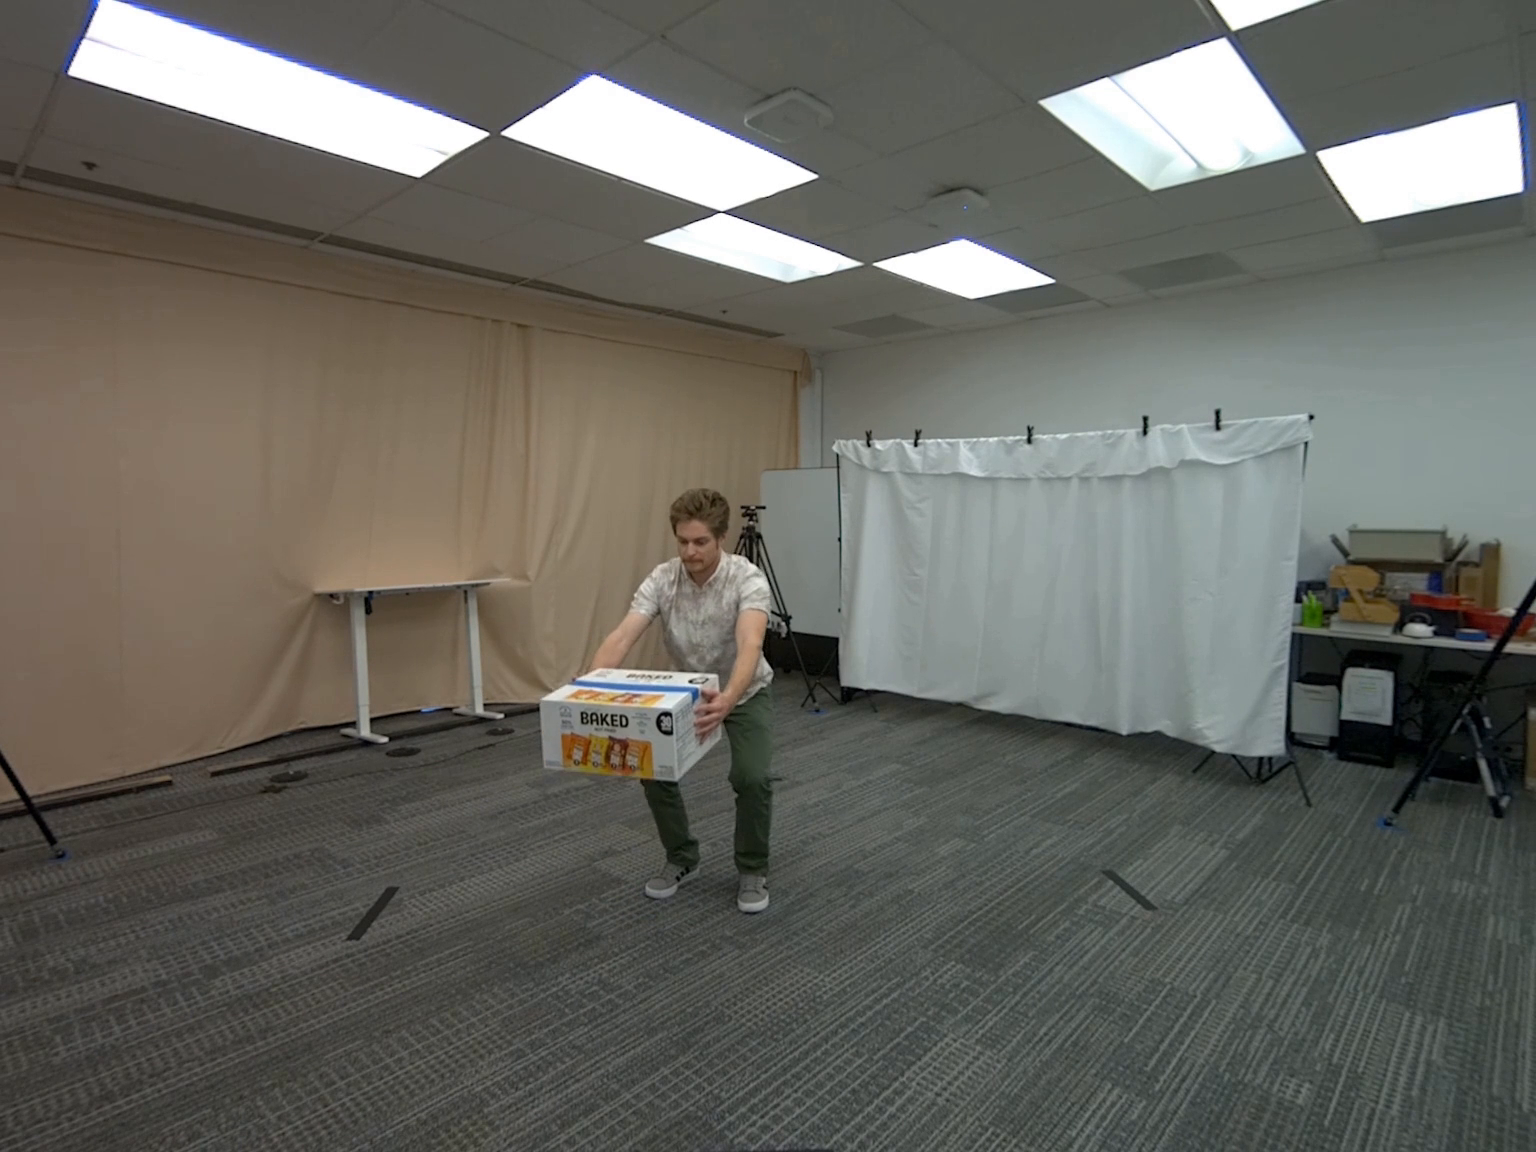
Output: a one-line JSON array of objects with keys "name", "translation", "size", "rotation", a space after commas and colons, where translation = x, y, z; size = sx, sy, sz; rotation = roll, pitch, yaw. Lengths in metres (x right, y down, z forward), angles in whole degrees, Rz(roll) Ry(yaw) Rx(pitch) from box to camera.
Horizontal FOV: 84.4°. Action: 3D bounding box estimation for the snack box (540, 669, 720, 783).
[{"name": "snack box", "translation": [-0.387, 0.416, 2.429], "size": [0.413, 0.204, 0.335], "rotation": [0, 9, 19]}]
